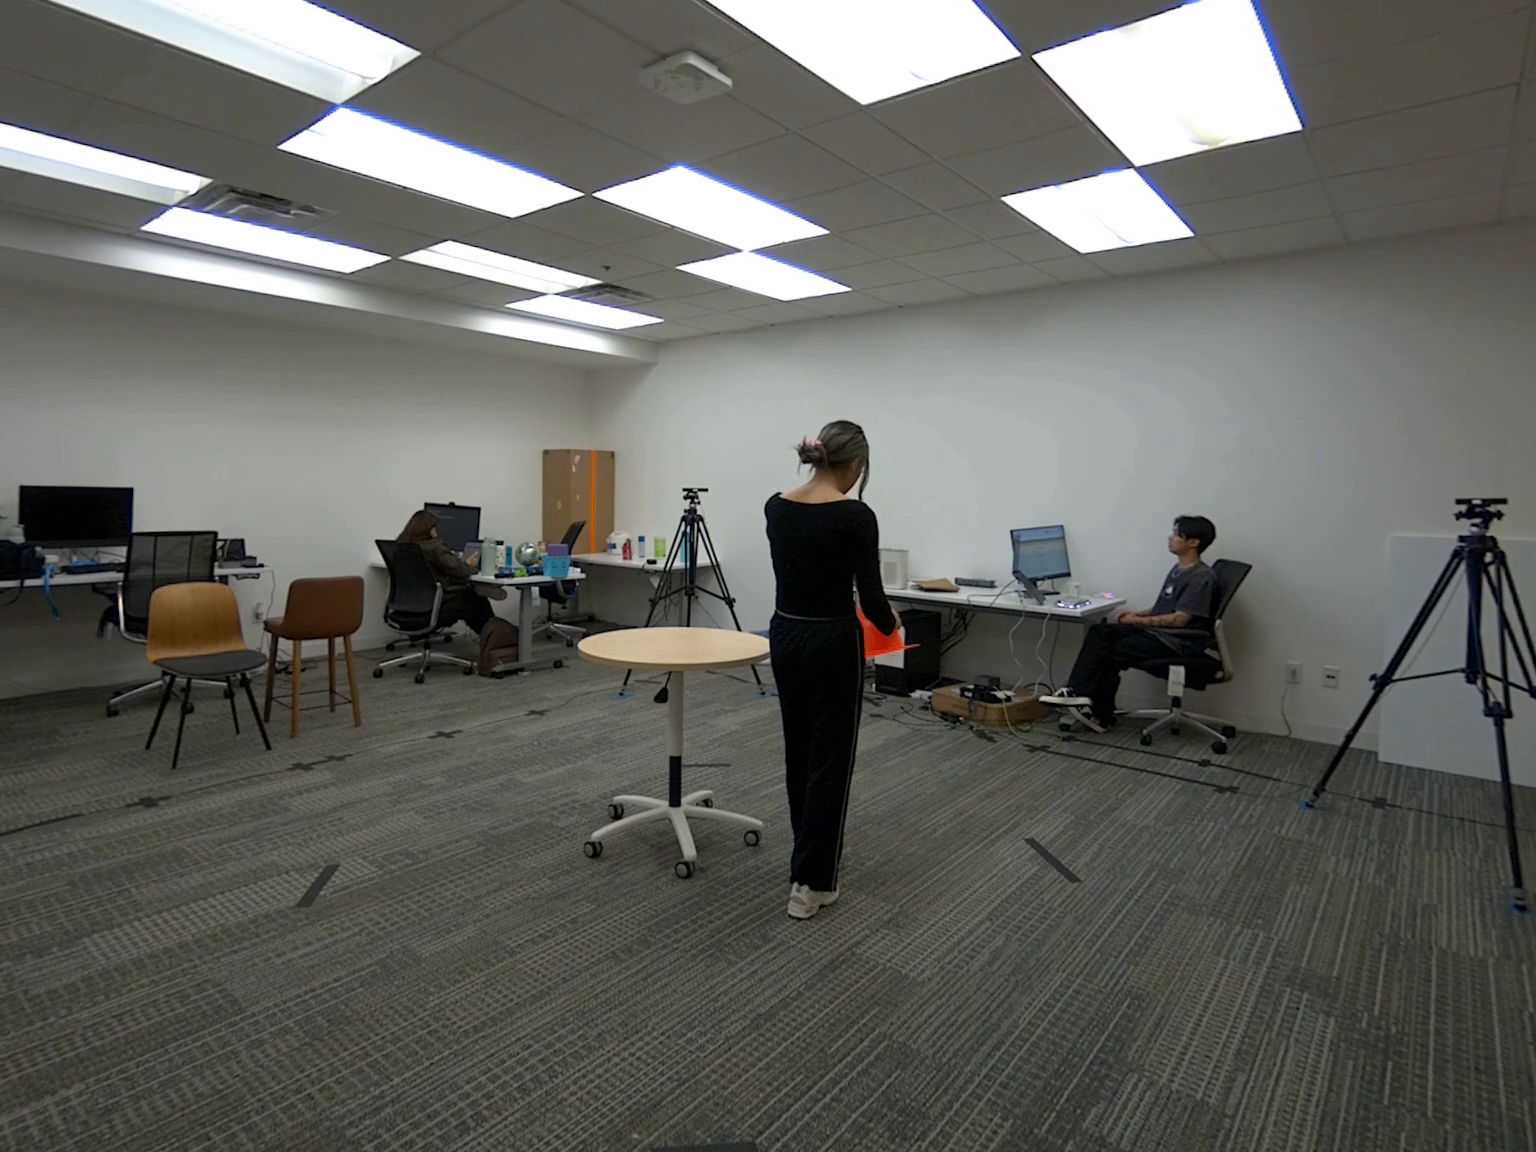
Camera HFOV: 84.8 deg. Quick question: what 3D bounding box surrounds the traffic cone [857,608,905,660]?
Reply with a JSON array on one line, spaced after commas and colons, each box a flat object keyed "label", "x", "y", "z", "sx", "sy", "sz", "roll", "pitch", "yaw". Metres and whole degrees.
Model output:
[{"label": "traffic cone", "x": 0.359, "y": 0.085, "z": 3.030, "sx": 0.202, "sy": 0.390, "sz": 0.202, "roll": -9, "pitch": -13, "yaw": -13}]
